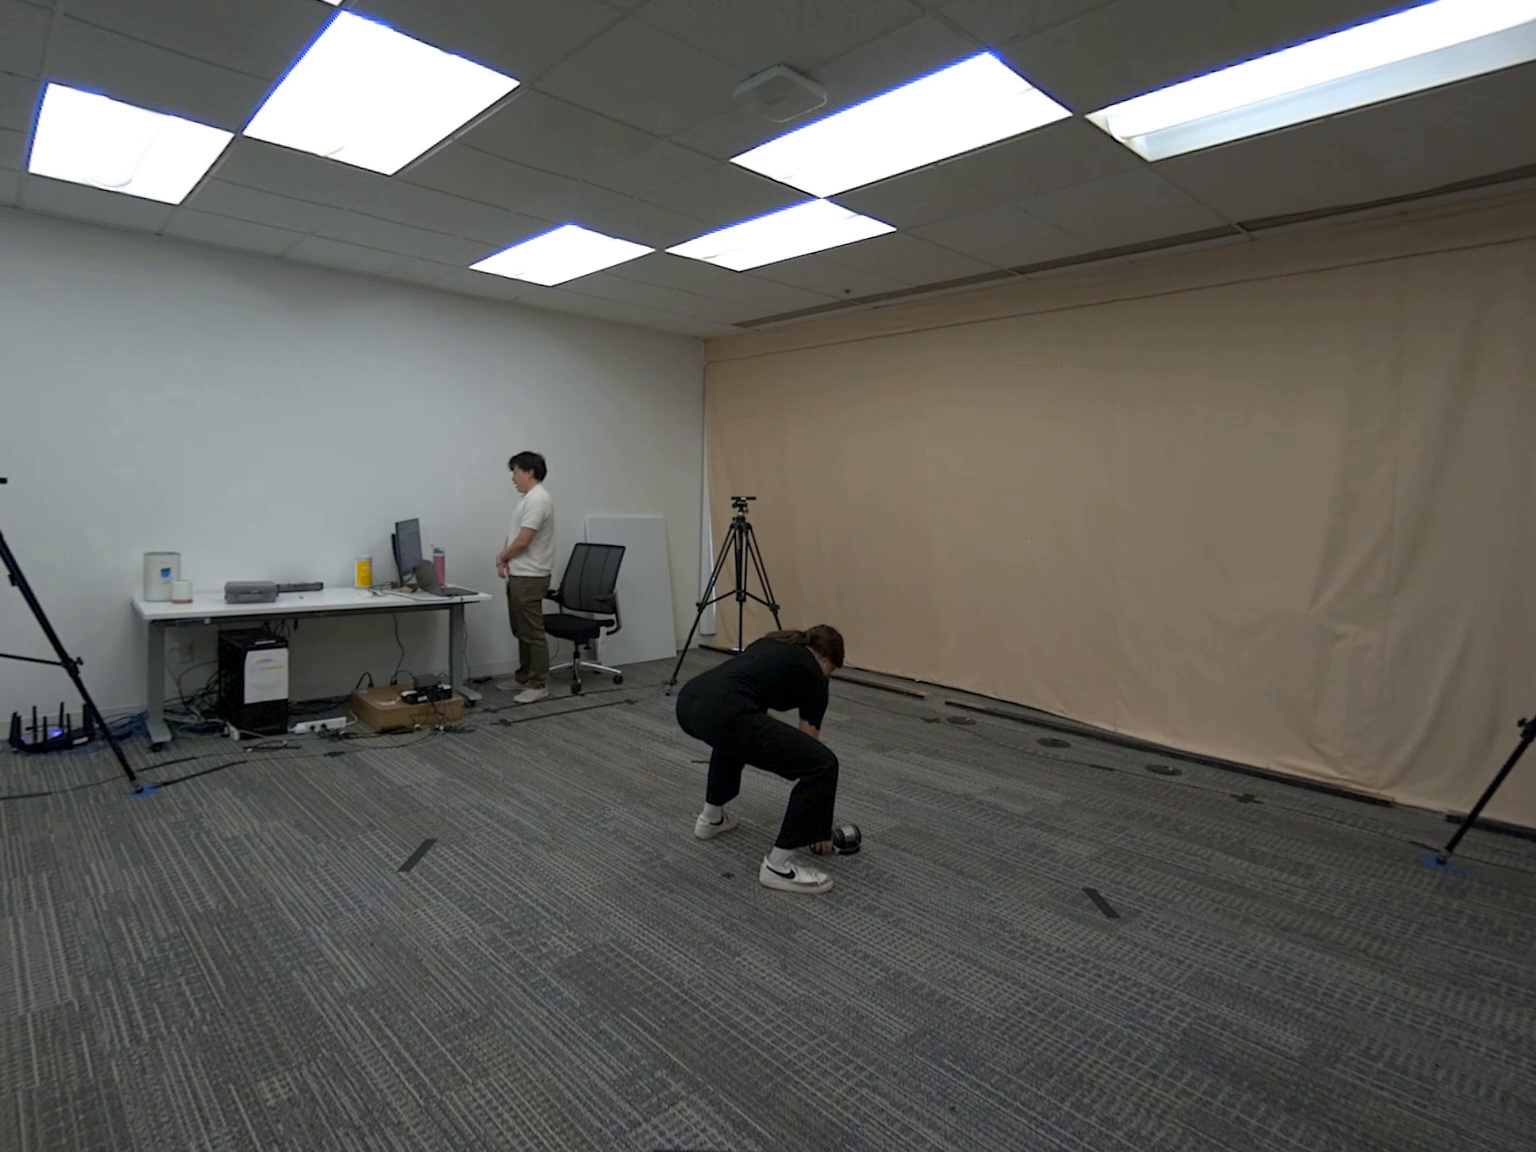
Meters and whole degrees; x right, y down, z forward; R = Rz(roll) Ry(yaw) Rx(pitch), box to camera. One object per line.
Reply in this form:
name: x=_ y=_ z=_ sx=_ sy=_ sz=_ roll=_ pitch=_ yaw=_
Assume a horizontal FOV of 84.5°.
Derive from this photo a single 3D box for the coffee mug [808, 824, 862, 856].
coffee mug: x=0.264 y=1.048 z=3.346 sx=0.199 sy=0.088 sz=0.124 roll=-3 pitch=-4 yaw=-29
